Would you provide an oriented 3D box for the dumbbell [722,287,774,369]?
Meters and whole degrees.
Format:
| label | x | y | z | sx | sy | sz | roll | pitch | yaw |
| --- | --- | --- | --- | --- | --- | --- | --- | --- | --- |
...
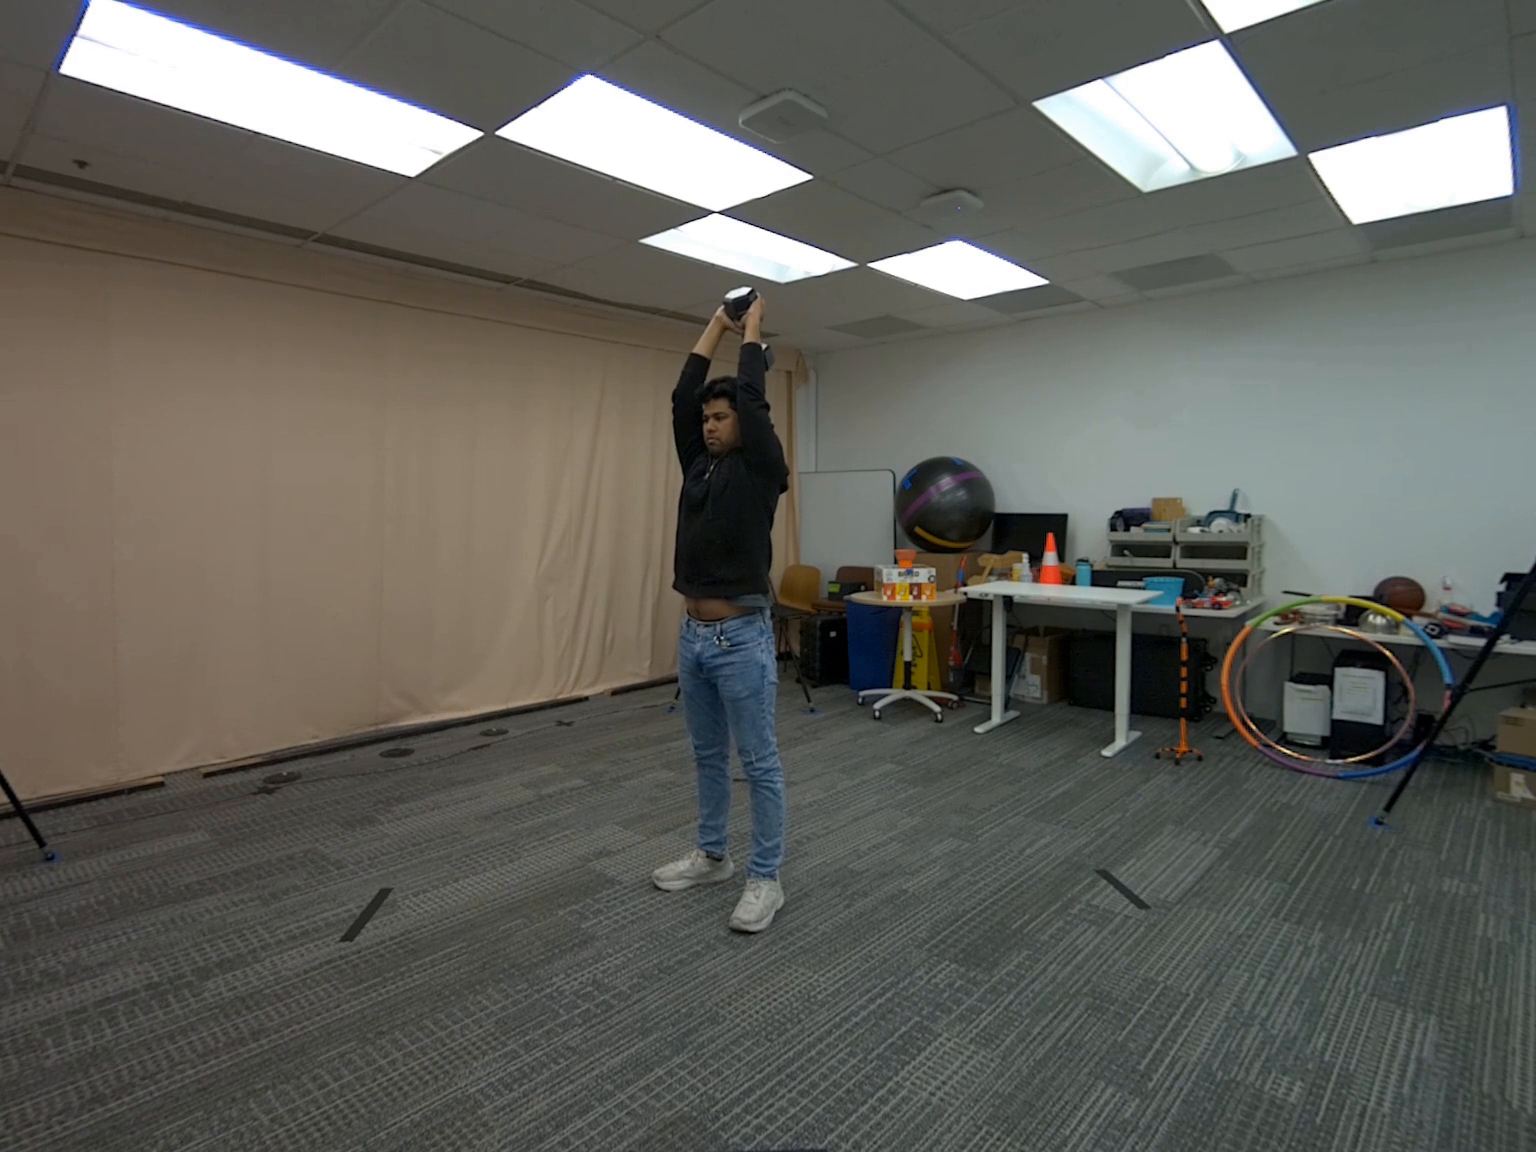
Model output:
| label | x | y | z | sx | sy | sz | roll | pitch | yaw |
| --- | --- | --- | --- | --- | --- | --- | --- | --- | --- |
| dumbbell | -0.059 | -0.861 | 2.997 | 0.107 | 0.286 | 0.127 | -29 | 35 | -21 |
